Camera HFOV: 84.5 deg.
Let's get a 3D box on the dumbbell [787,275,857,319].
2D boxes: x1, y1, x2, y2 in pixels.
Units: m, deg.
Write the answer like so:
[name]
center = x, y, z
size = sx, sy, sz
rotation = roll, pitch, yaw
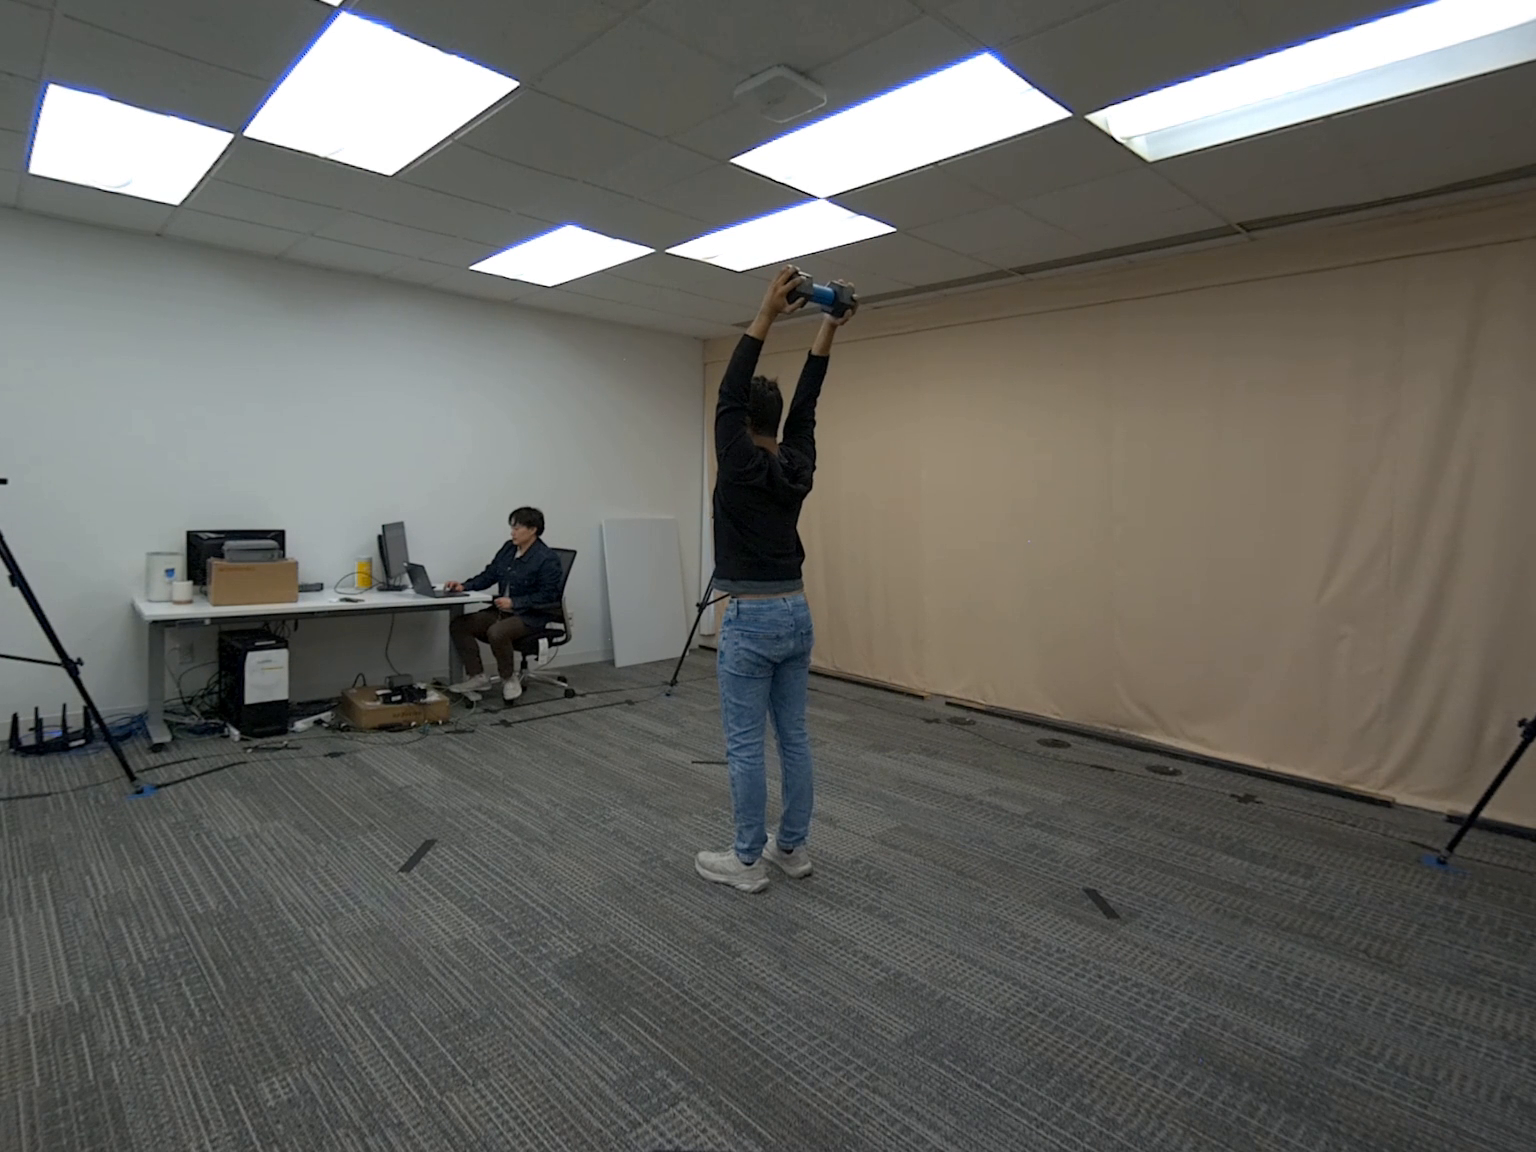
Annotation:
[dumbbell]
center = 0.149, -0.959, 2.838
size = 0.287, 0.107, 0.127
rotation = -5, 32, -40
